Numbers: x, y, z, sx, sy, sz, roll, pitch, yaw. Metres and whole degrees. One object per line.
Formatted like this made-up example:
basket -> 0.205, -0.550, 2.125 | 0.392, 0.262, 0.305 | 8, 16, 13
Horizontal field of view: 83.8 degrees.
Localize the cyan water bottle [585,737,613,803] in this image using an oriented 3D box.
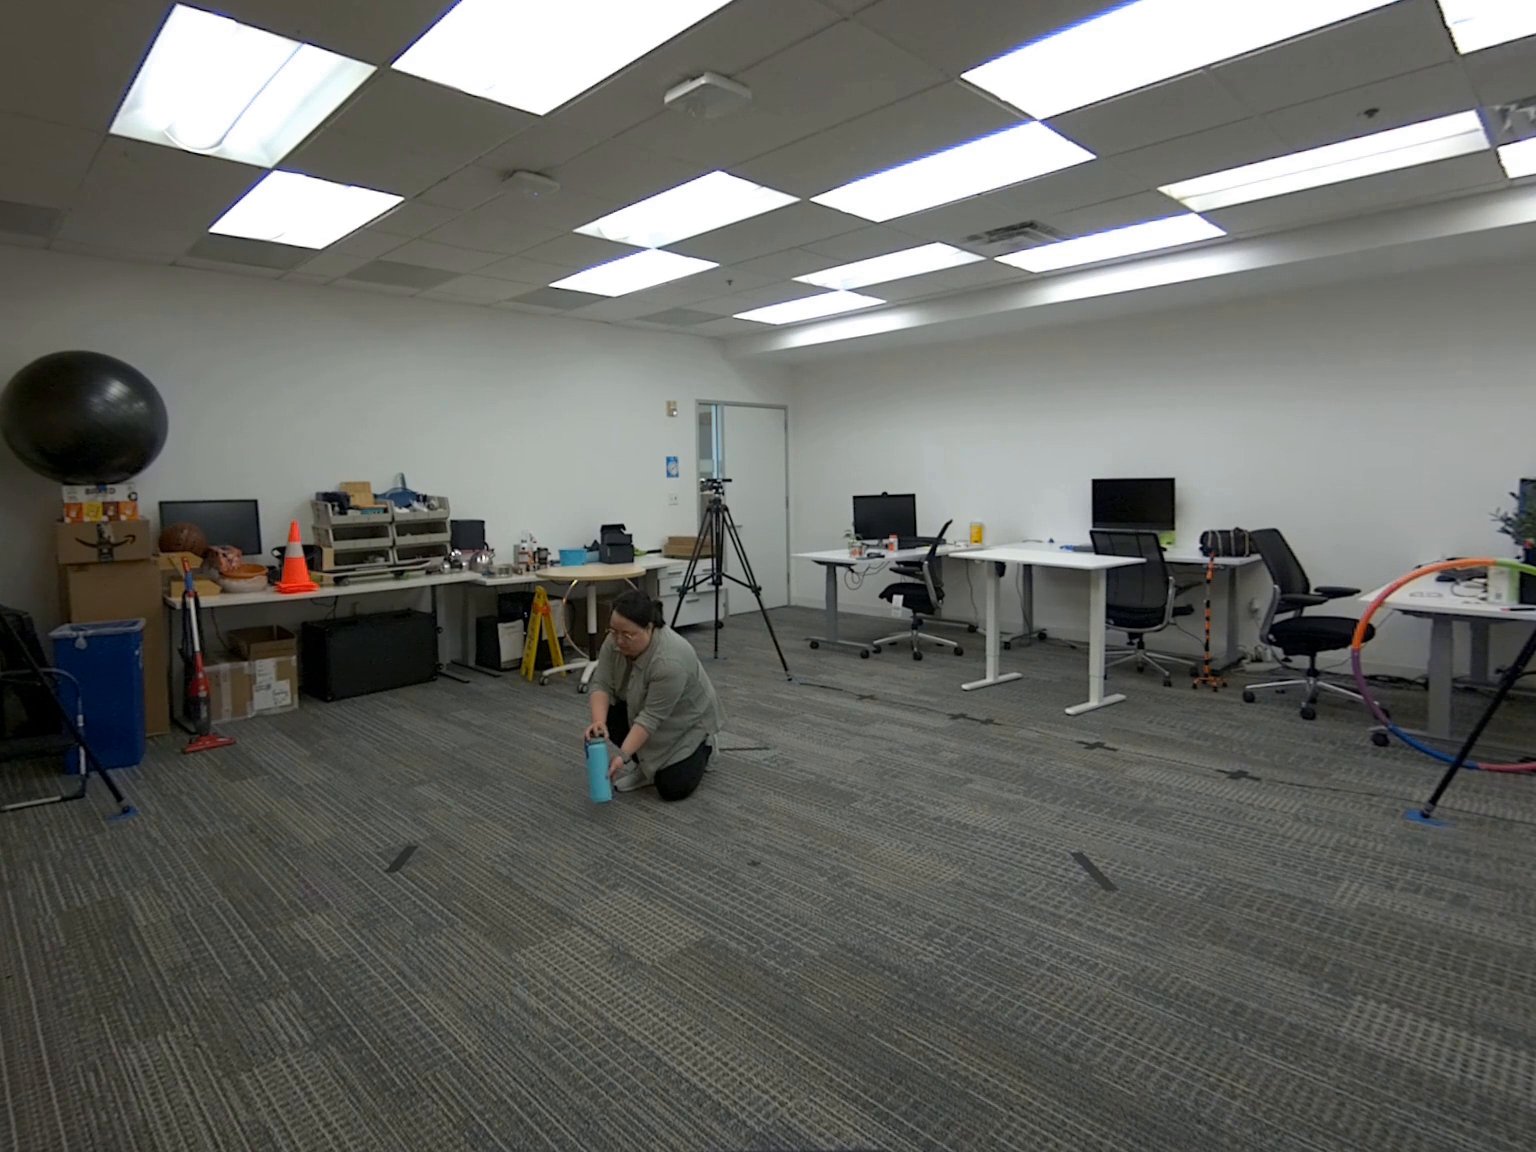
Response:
cyan water bottle -> -0.711, 0.791, 3.537 | 0.092, 0.285, 0.092 | -3, -8, -2
